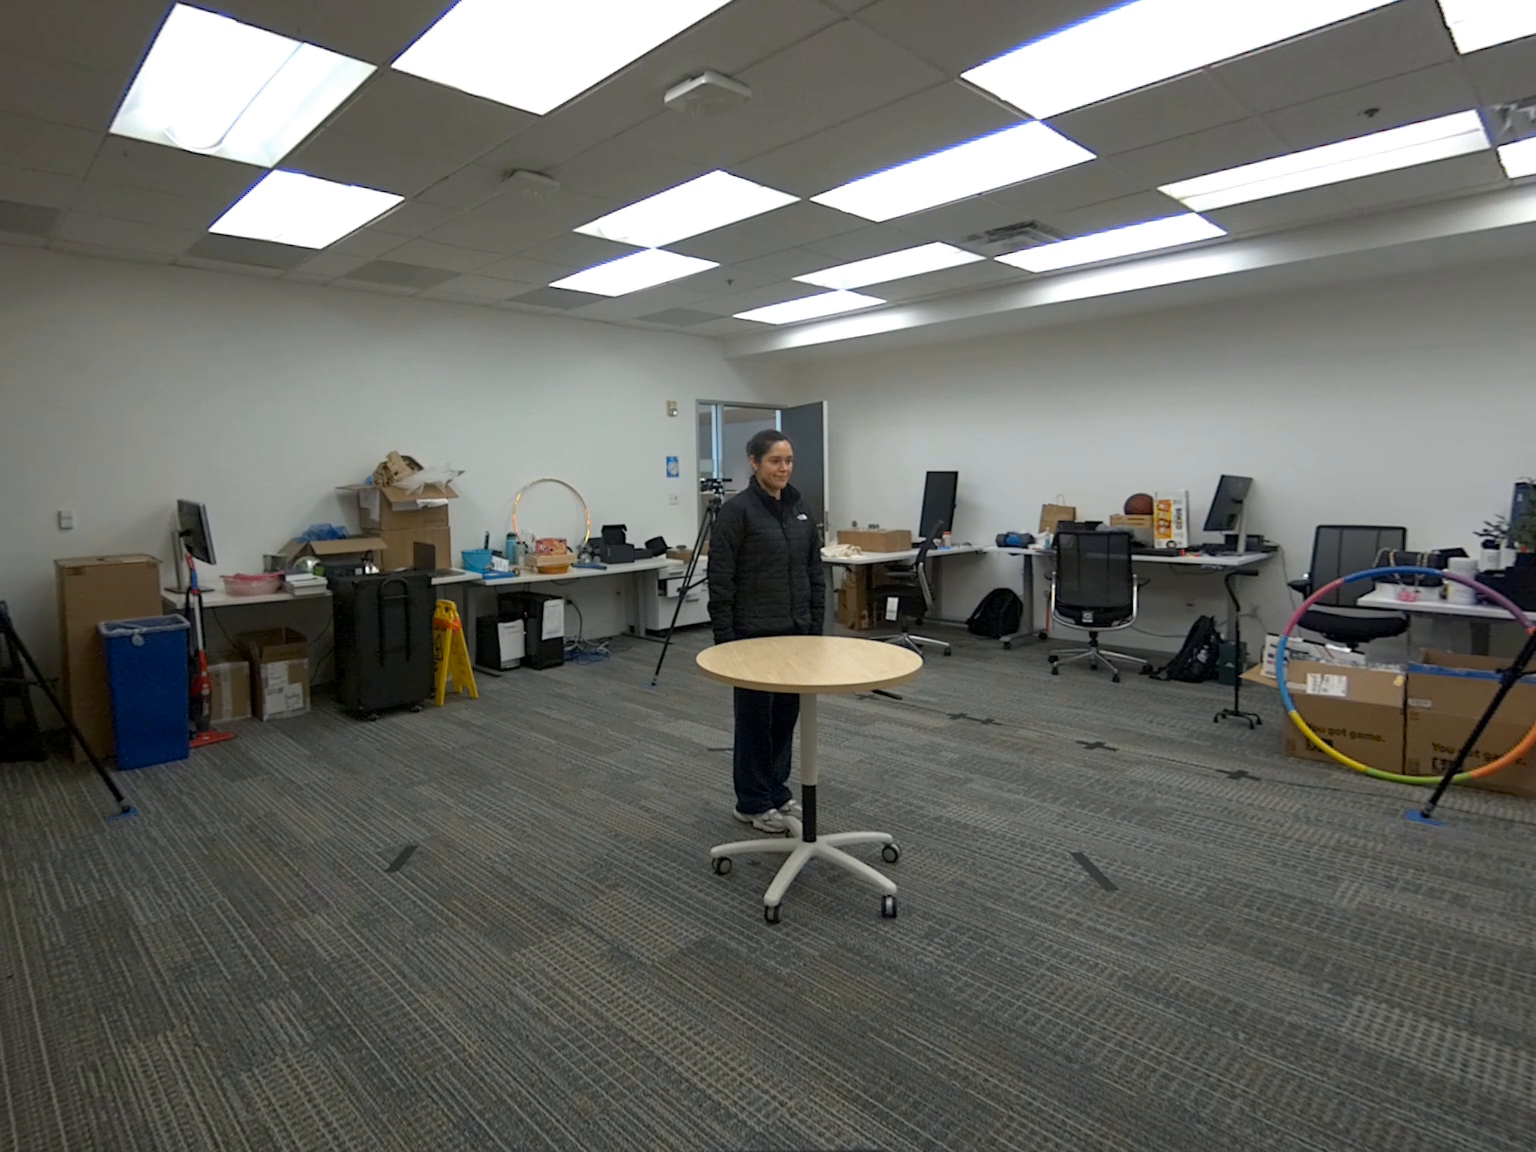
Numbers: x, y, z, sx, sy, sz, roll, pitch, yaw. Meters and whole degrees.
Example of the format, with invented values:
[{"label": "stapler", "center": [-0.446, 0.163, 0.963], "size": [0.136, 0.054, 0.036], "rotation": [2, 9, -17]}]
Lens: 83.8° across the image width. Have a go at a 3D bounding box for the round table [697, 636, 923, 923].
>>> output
[{"label": "round table", "center": [0.129, 0.668, 2.955], "size": [0.784, 0.783, 0.789], "rotation": [-1, 5, -2]}]
